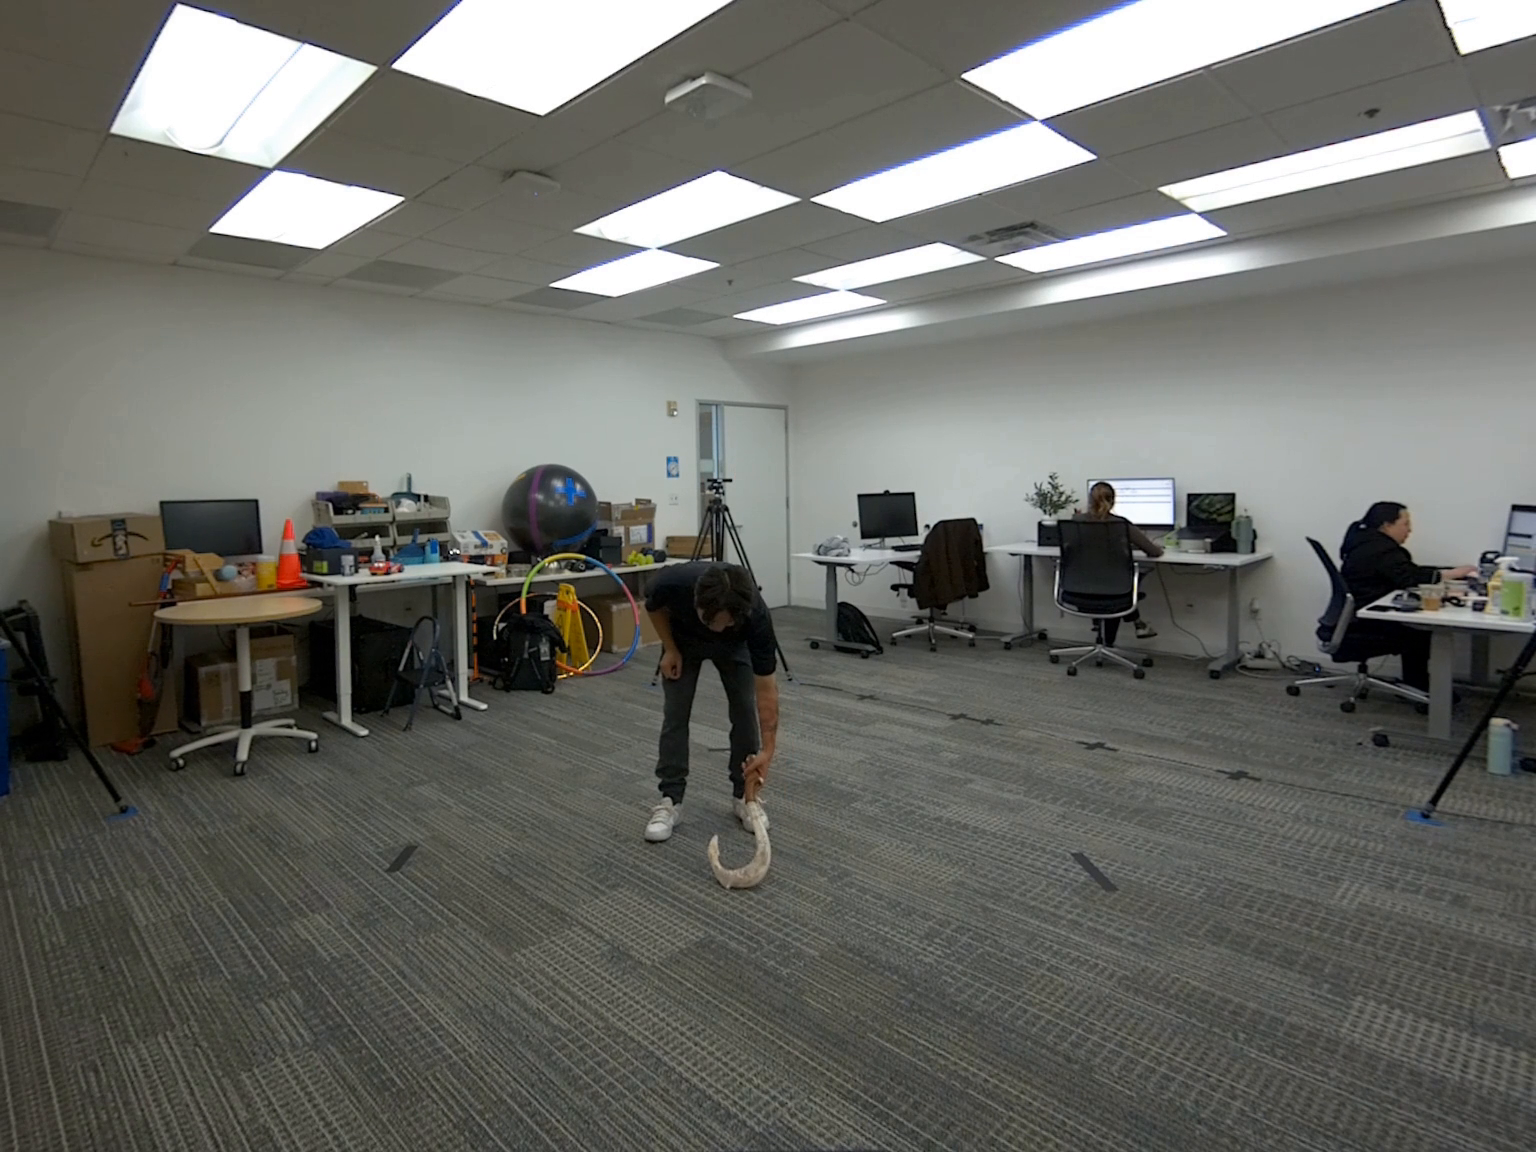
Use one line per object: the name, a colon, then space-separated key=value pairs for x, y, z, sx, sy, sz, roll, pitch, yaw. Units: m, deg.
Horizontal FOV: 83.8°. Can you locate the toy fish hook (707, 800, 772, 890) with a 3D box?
toy fish hook: x=-0.099 y=0.881 z=3.096 sx=0.226 sy=0.047 sz=0.520 roll=-6 pitch=43 yaw=7
